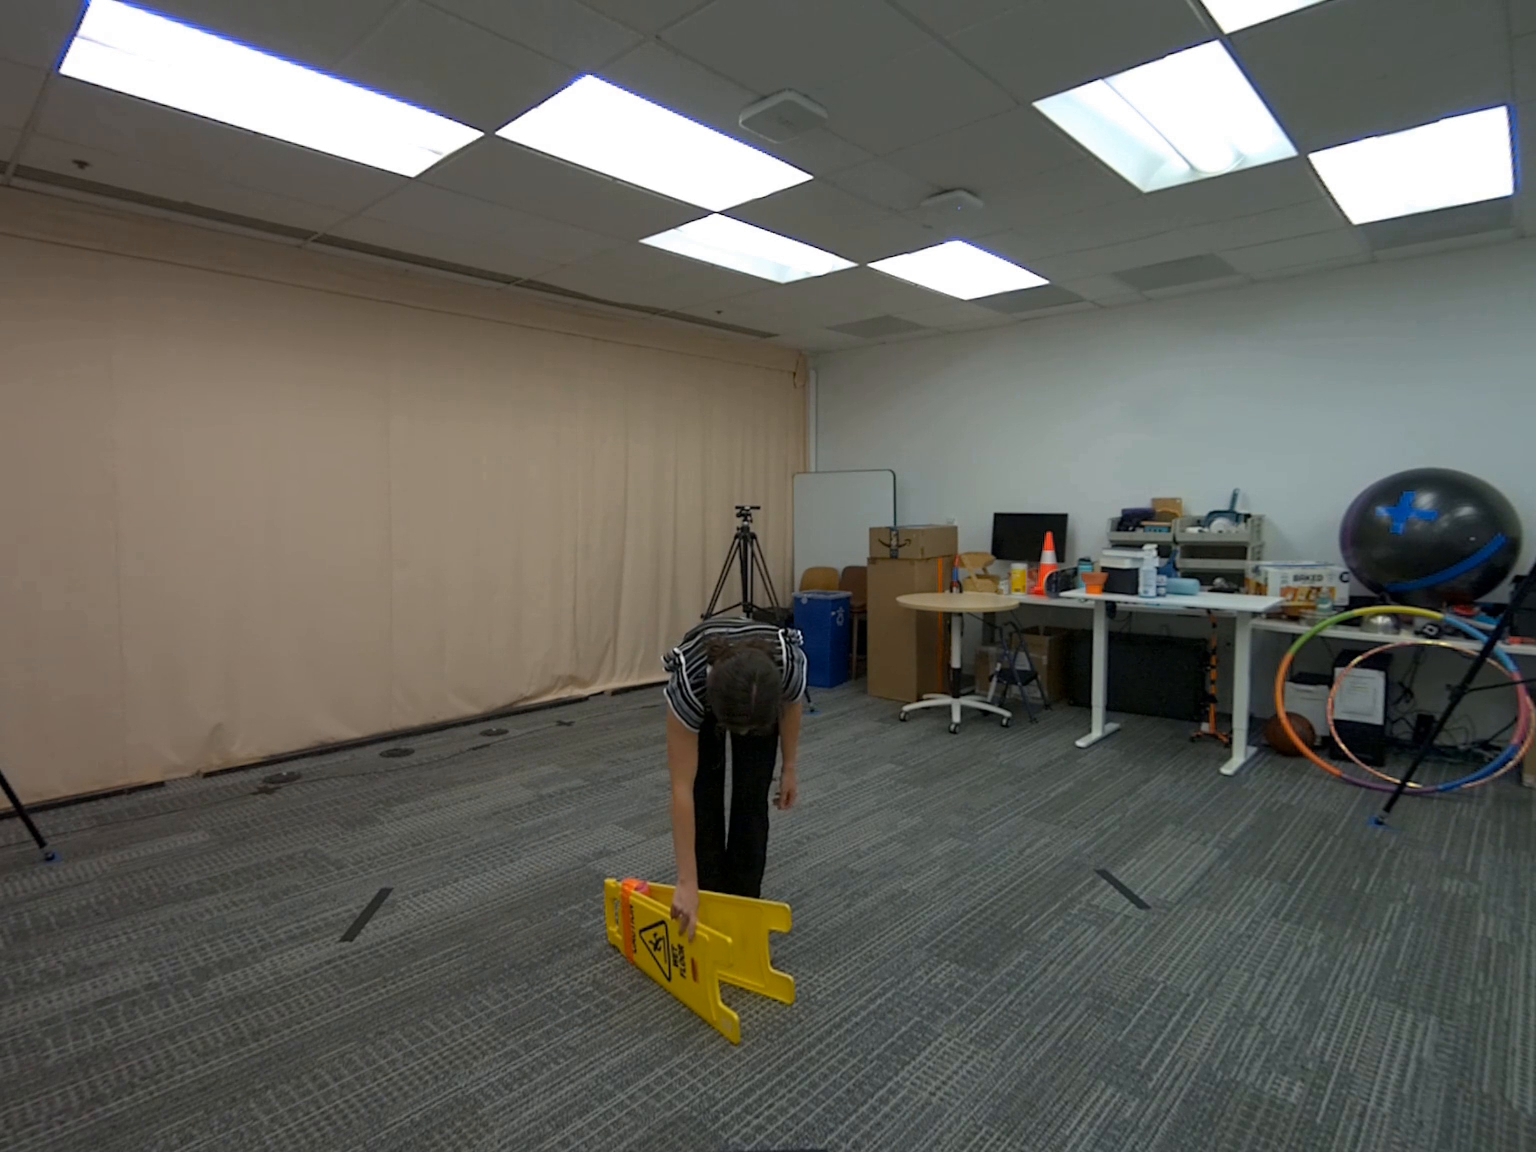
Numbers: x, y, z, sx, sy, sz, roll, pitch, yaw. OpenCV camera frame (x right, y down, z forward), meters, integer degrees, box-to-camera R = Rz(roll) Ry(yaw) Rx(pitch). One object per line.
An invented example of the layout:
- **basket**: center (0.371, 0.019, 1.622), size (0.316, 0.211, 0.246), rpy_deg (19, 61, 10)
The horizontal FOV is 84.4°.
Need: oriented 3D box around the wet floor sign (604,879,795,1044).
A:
- **wet floor sign**: center (-0.261, 1.066, 2.467), size (0.666, 0.282, 0.281), rpy_deg (-1, 4, 40)
